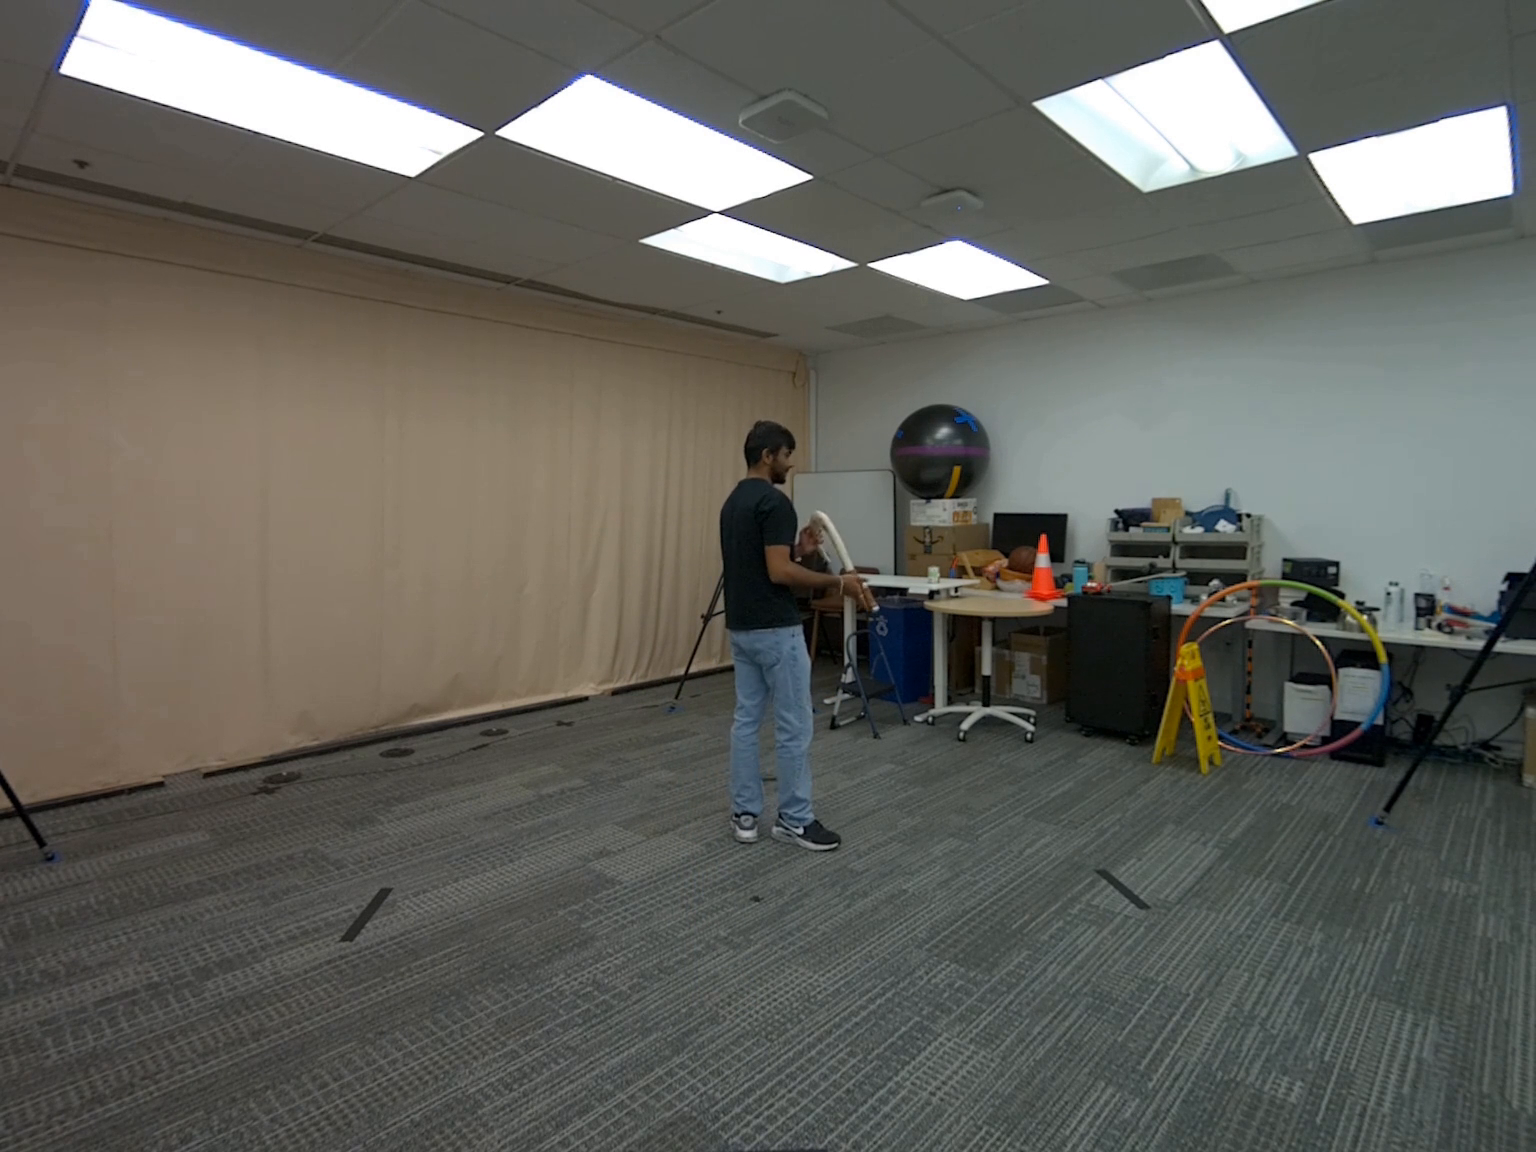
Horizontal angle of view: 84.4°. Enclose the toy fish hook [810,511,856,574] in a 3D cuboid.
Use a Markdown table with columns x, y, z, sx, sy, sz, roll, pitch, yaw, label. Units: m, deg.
| x | y | z | sx | sy | sz | roll | pitch | yaw | label |
| --- | --- | --- | --- | --- | --- | --- | --- | --- | --- |
| 0.320 | -0.032 | 3.510 | 0.048 | 0.516 | 0.223 | -23 | -18 | -16 | toy fish hook |
